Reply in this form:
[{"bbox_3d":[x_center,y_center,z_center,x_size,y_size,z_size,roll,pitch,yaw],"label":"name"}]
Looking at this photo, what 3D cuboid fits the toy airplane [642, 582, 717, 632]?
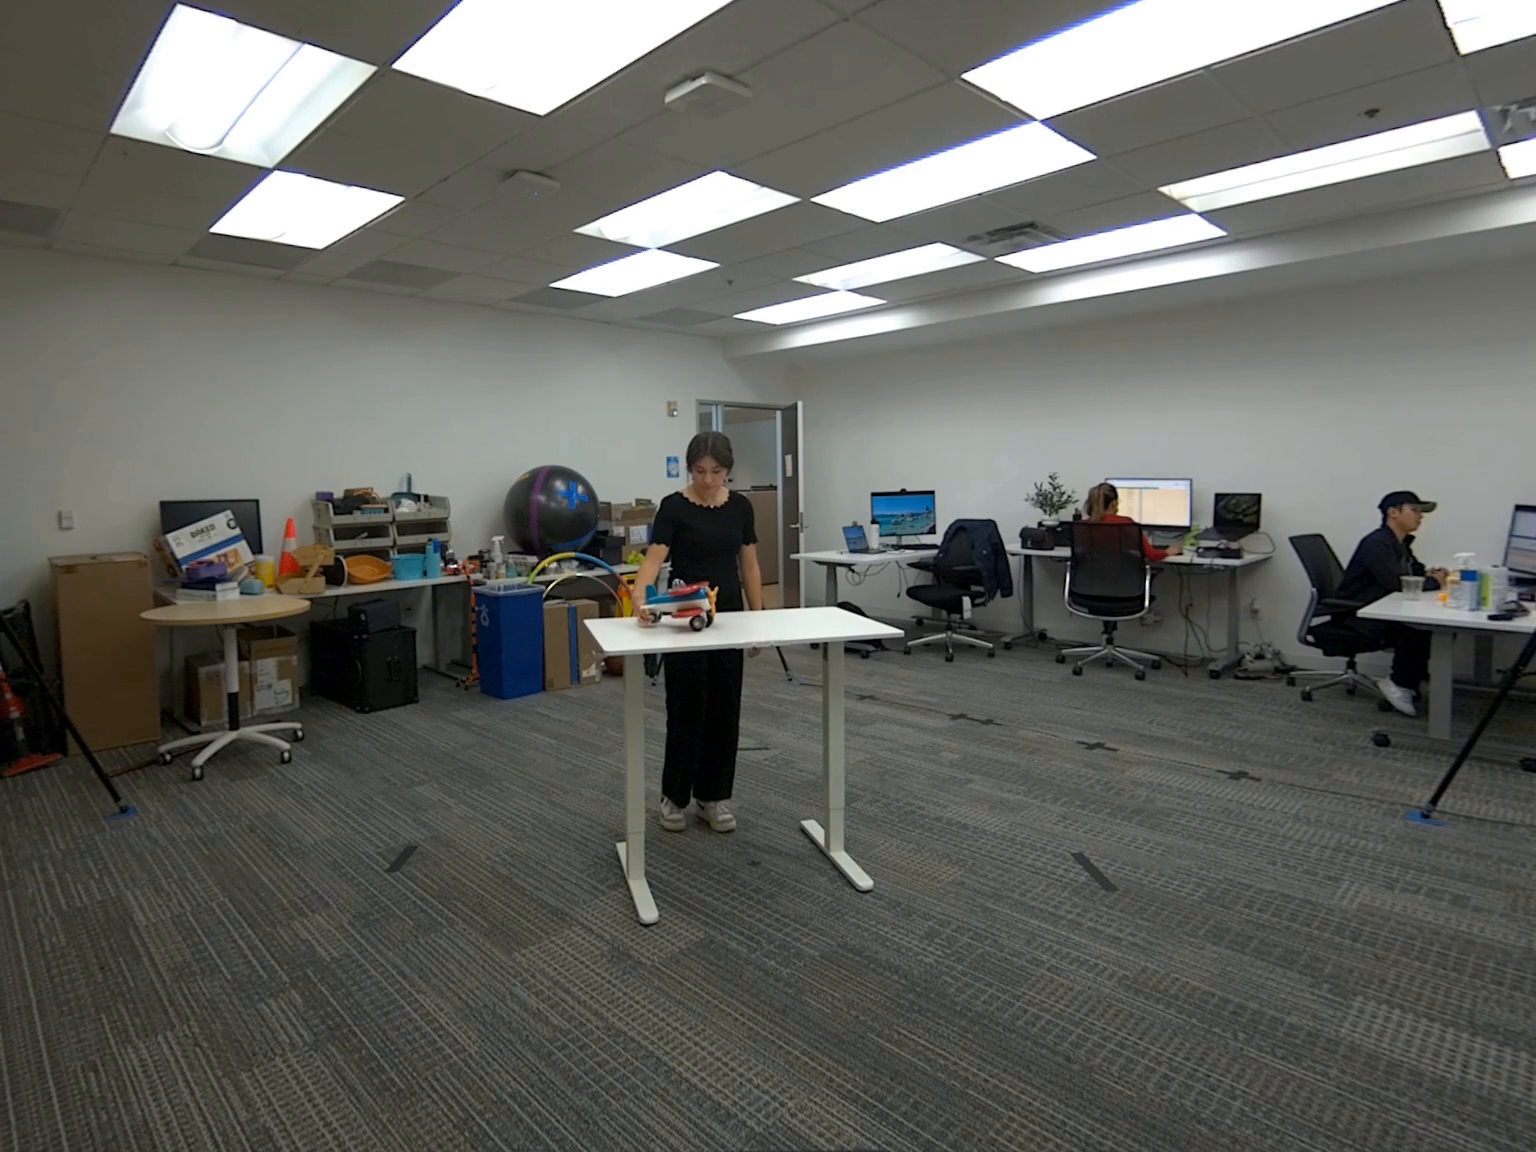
[{"bbox_3d":[-0.310,0.106,2.943,0.256,0.156,0.255,3,6,-13],"label":"toy airplane"}]
